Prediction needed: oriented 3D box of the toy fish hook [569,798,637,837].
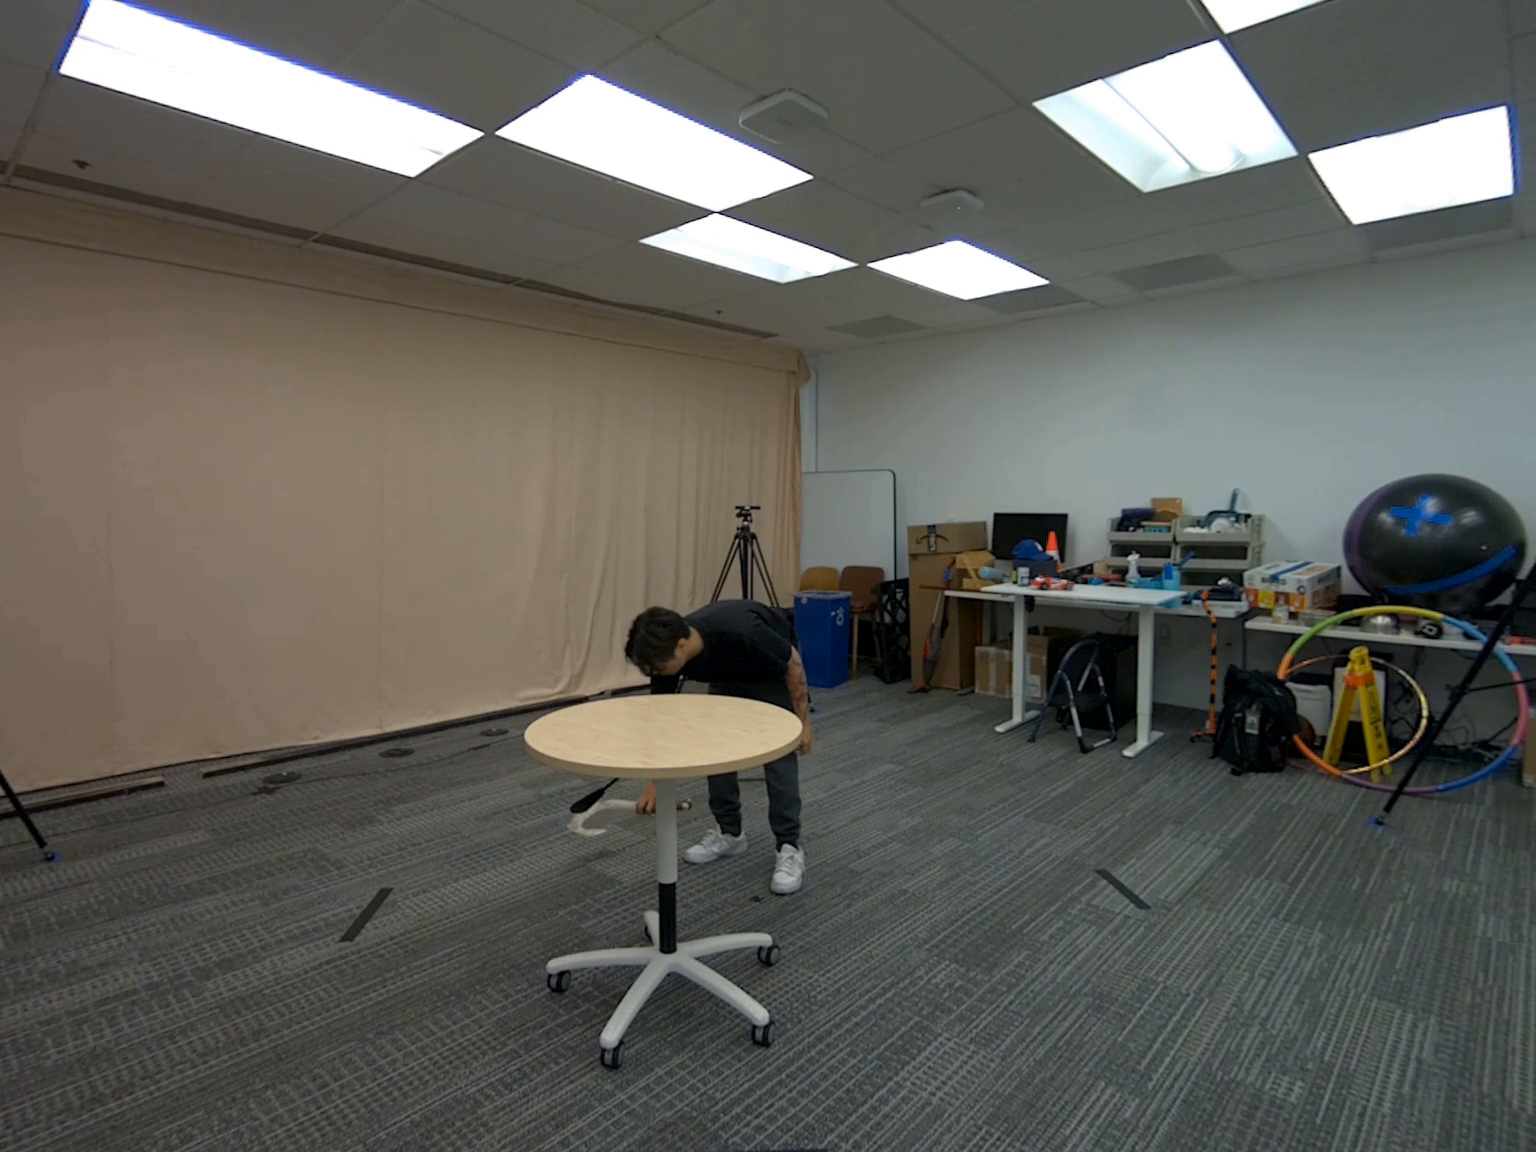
[{"bbox_3d":[-0.536,0.931,3.220,0.515,0.047,0.224,-12,21,19],"label":"toy fish hook"}]
